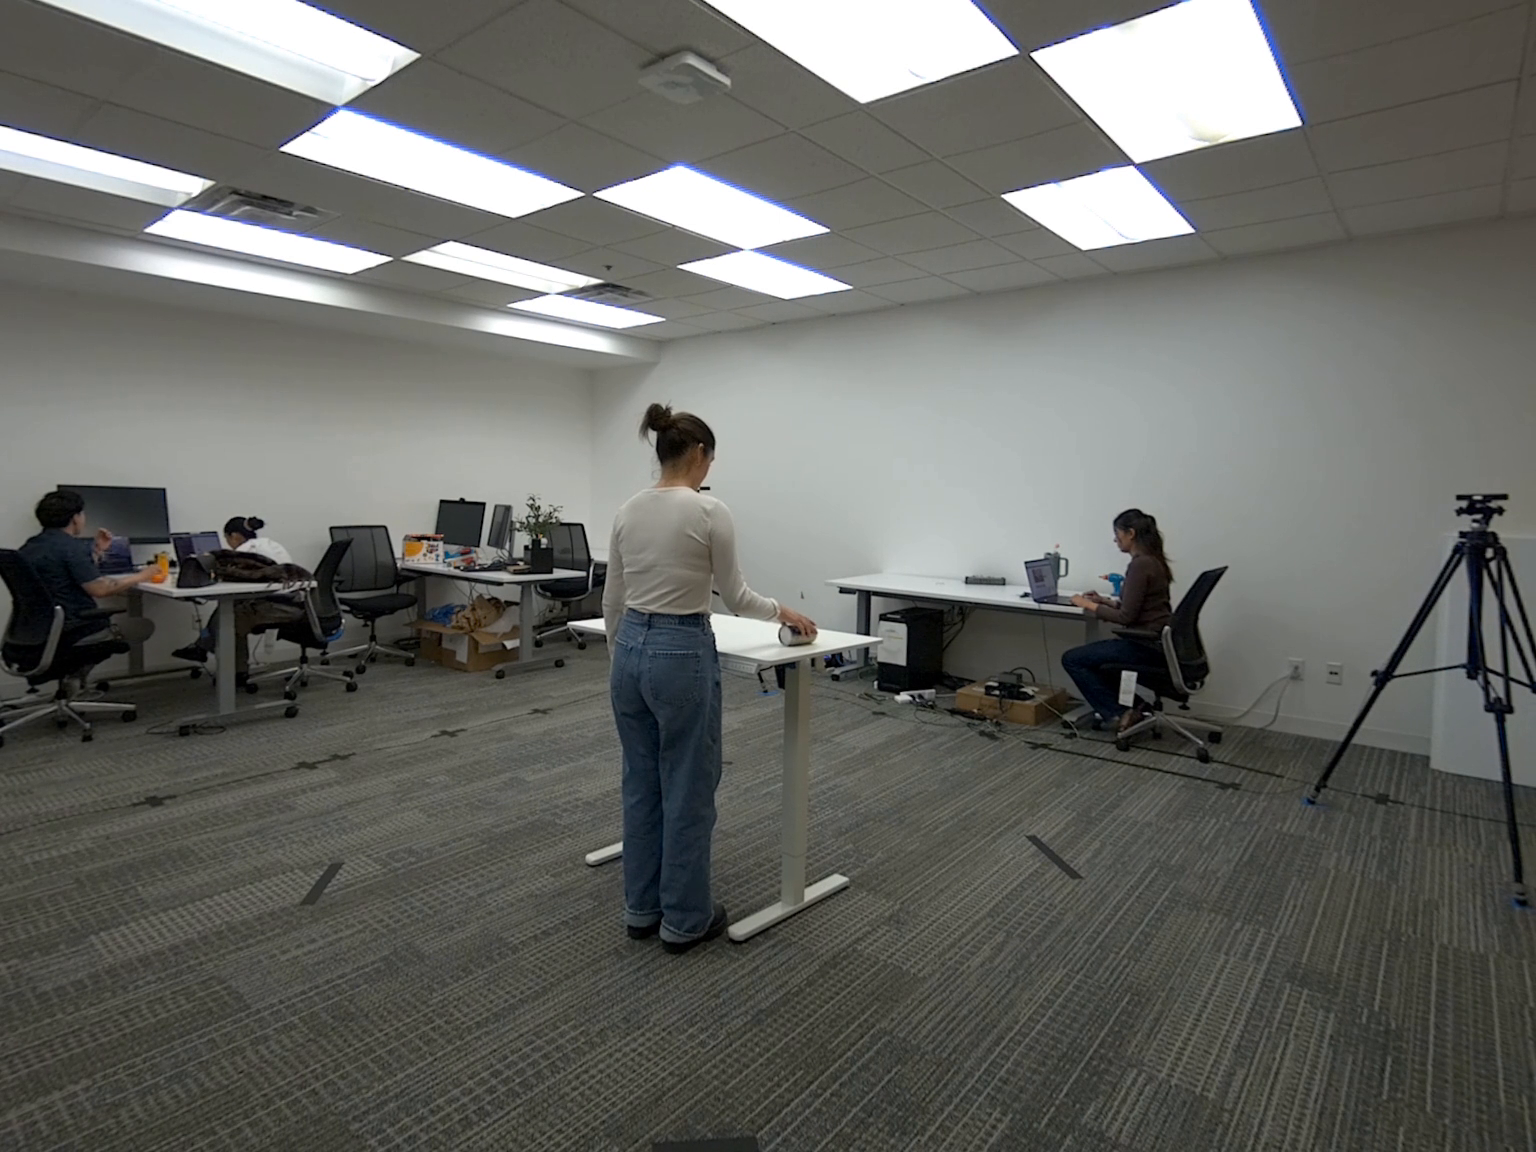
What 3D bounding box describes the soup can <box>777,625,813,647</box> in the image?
[{"bbox_3d":[0.091,0.188,2.762,0.118,0.067,0.069,-3,5,-27],"label":"soup can"}]
